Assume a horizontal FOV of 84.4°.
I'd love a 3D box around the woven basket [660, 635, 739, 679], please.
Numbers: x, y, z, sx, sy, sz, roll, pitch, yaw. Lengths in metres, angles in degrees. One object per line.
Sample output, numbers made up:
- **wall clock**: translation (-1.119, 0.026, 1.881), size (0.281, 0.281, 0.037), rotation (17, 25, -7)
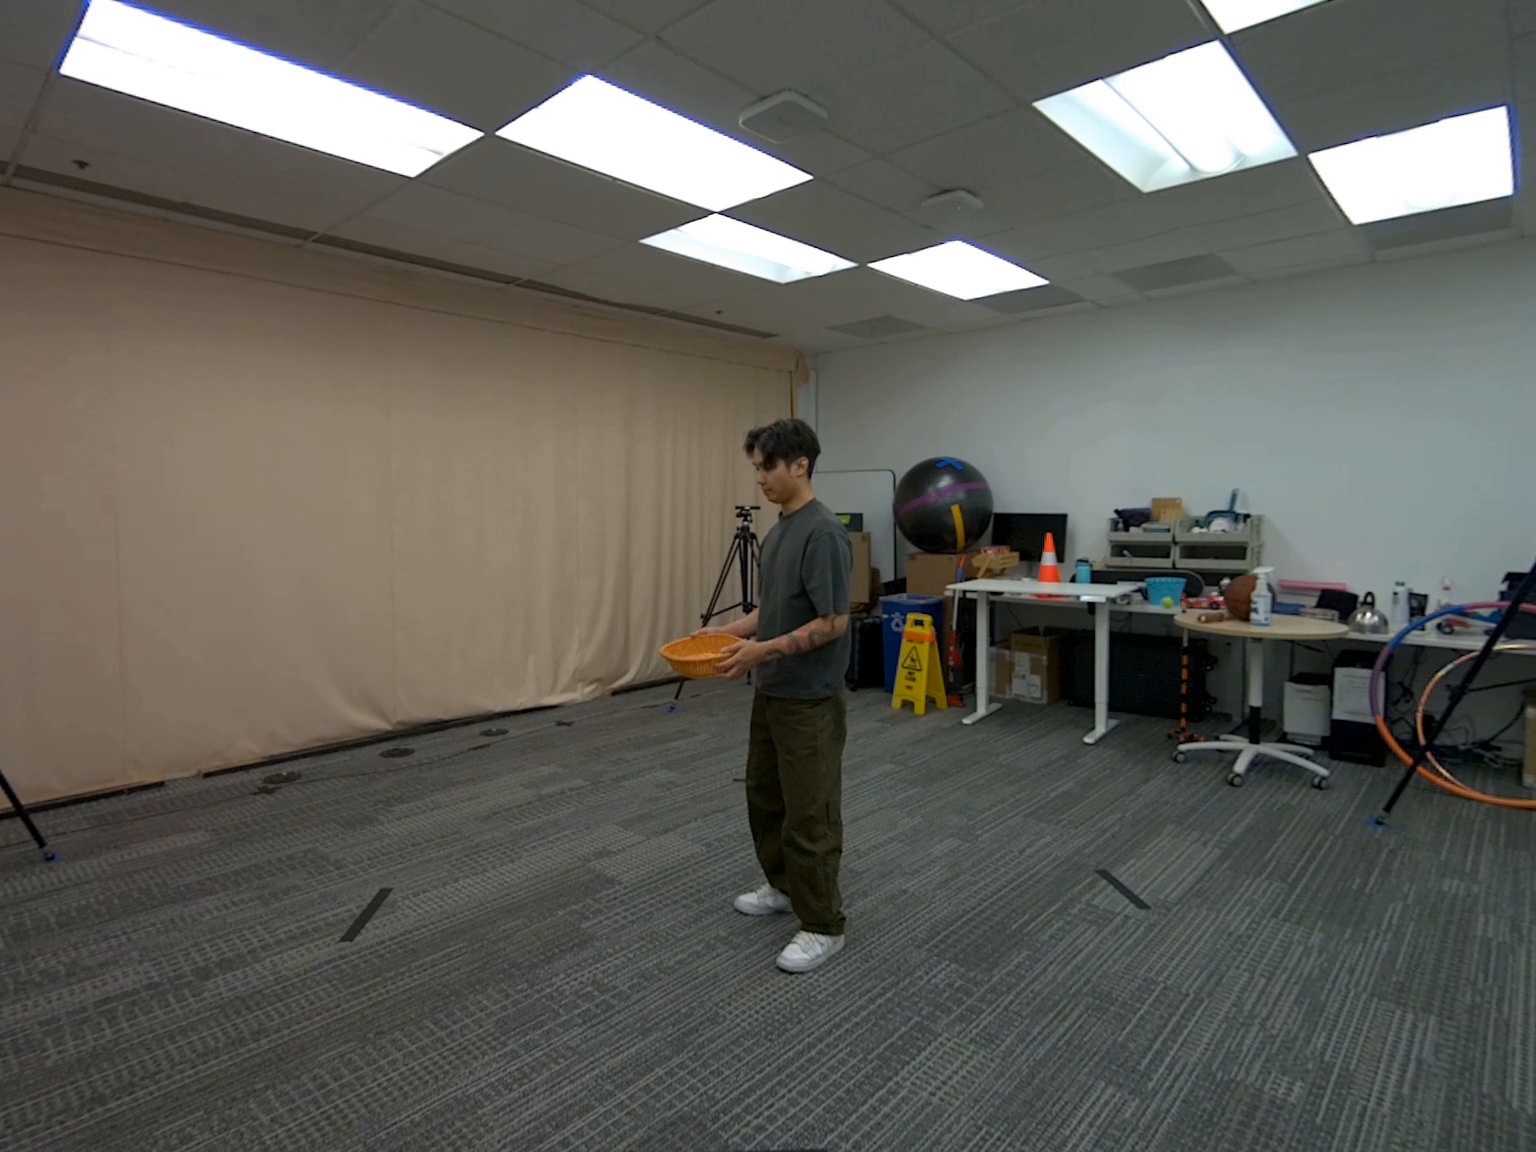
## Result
- **woven basket**: translation (-0.197, 0.255, 2.646), size (0.248, 0.073, 0.358), rotation (-11, 8, -20)
